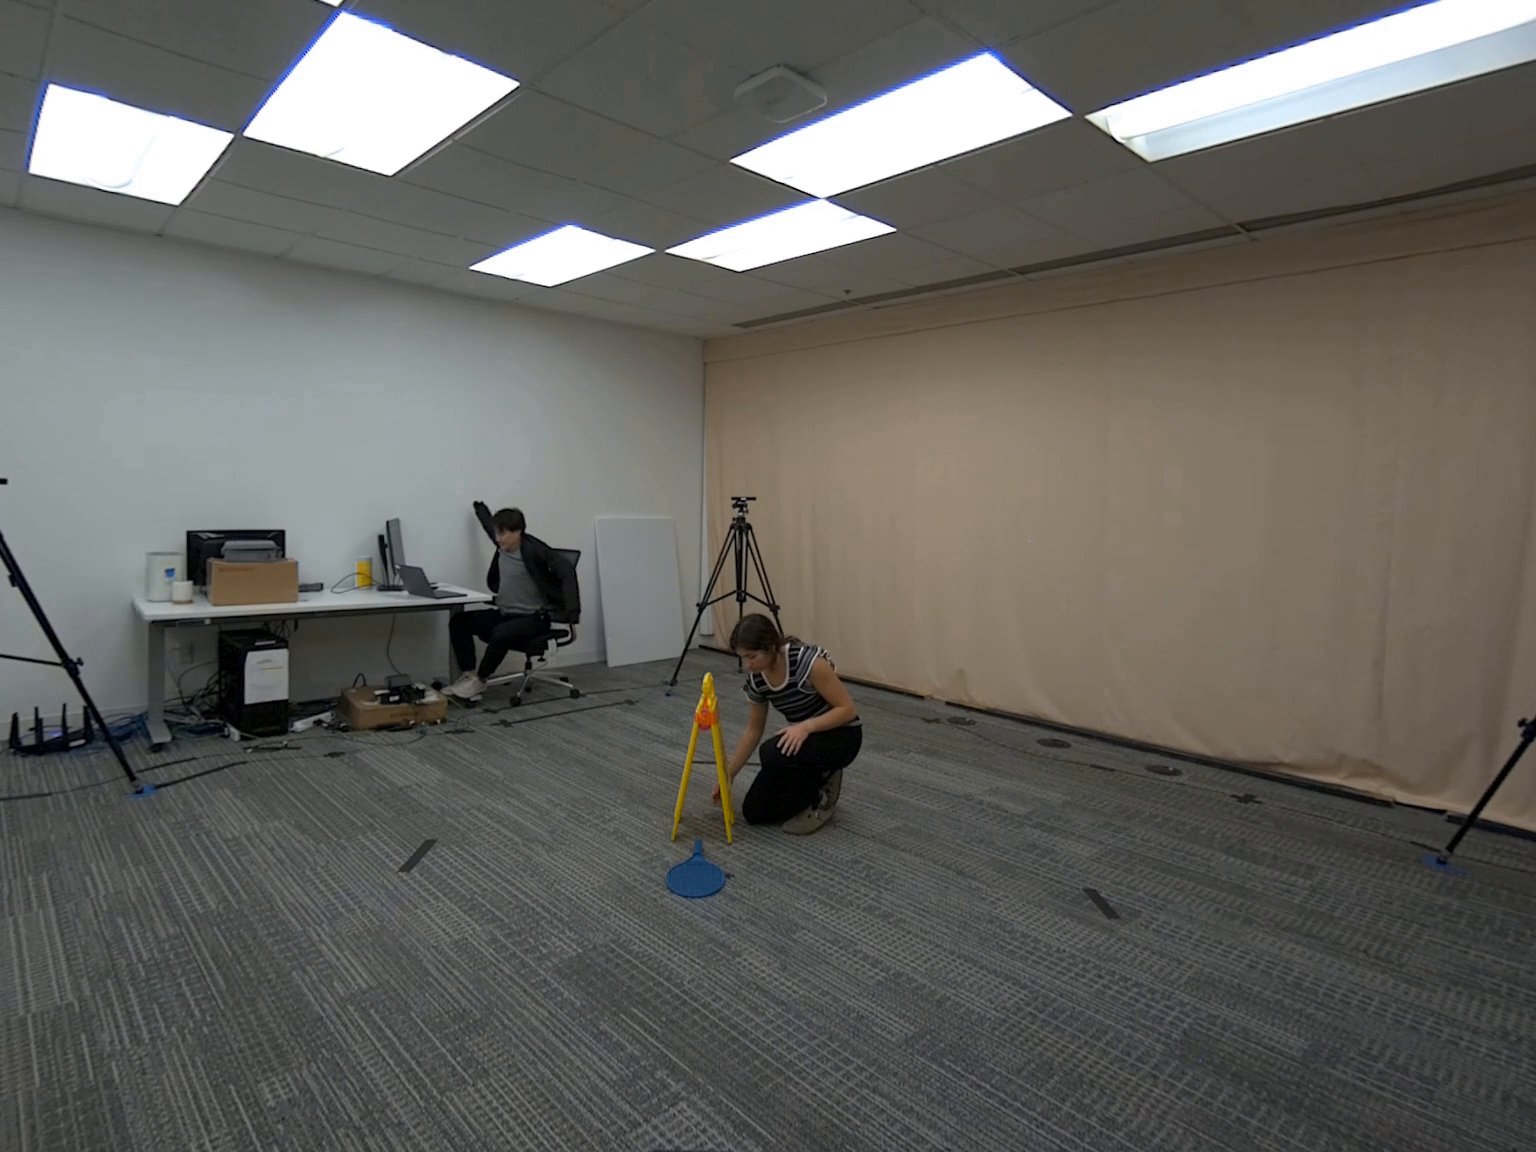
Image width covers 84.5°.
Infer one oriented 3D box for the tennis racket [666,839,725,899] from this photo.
[{"bbox_3d":[-0.271,1.084,3.139,0.214,0.031,0.434,1,7,0],"label":"tennis racket"}]
